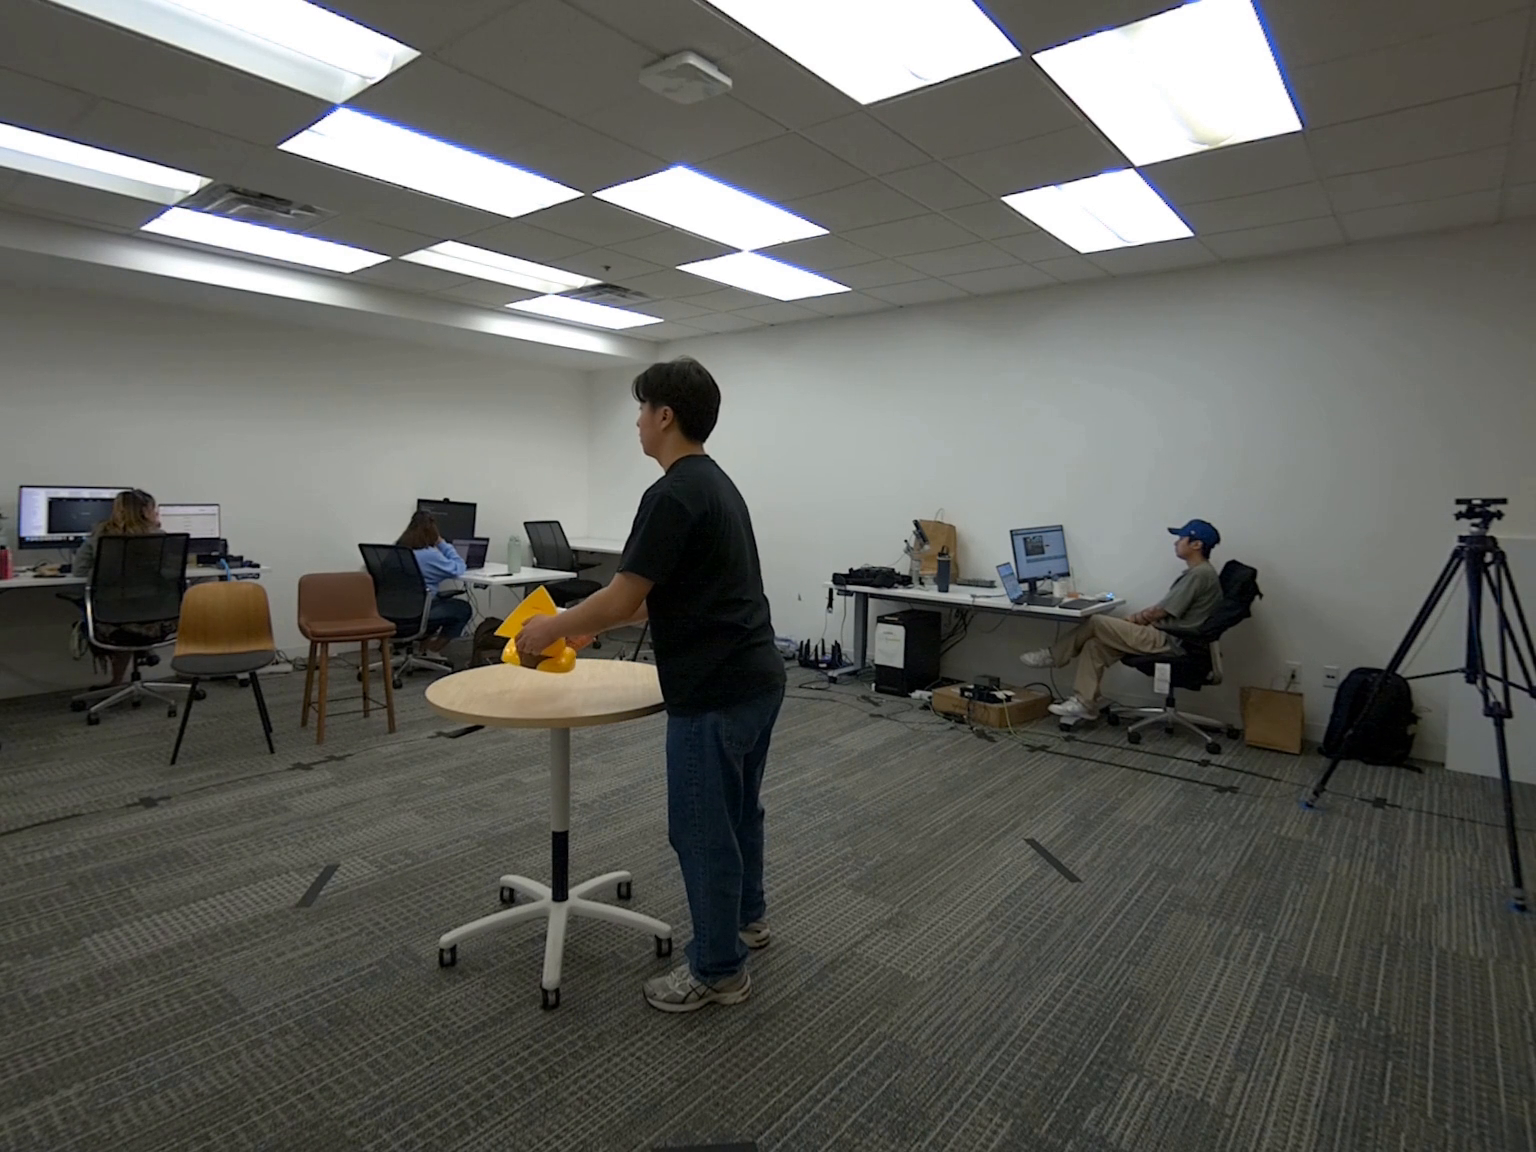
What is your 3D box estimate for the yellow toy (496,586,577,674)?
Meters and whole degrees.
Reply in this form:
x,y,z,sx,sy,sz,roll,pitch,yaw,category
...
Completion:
x,y,z,sx,sy,sz,roll,pitch,yaw,category
-0.633,0.135,2.367,0.207,0.230,0.191,9,6,9,yellow toy
